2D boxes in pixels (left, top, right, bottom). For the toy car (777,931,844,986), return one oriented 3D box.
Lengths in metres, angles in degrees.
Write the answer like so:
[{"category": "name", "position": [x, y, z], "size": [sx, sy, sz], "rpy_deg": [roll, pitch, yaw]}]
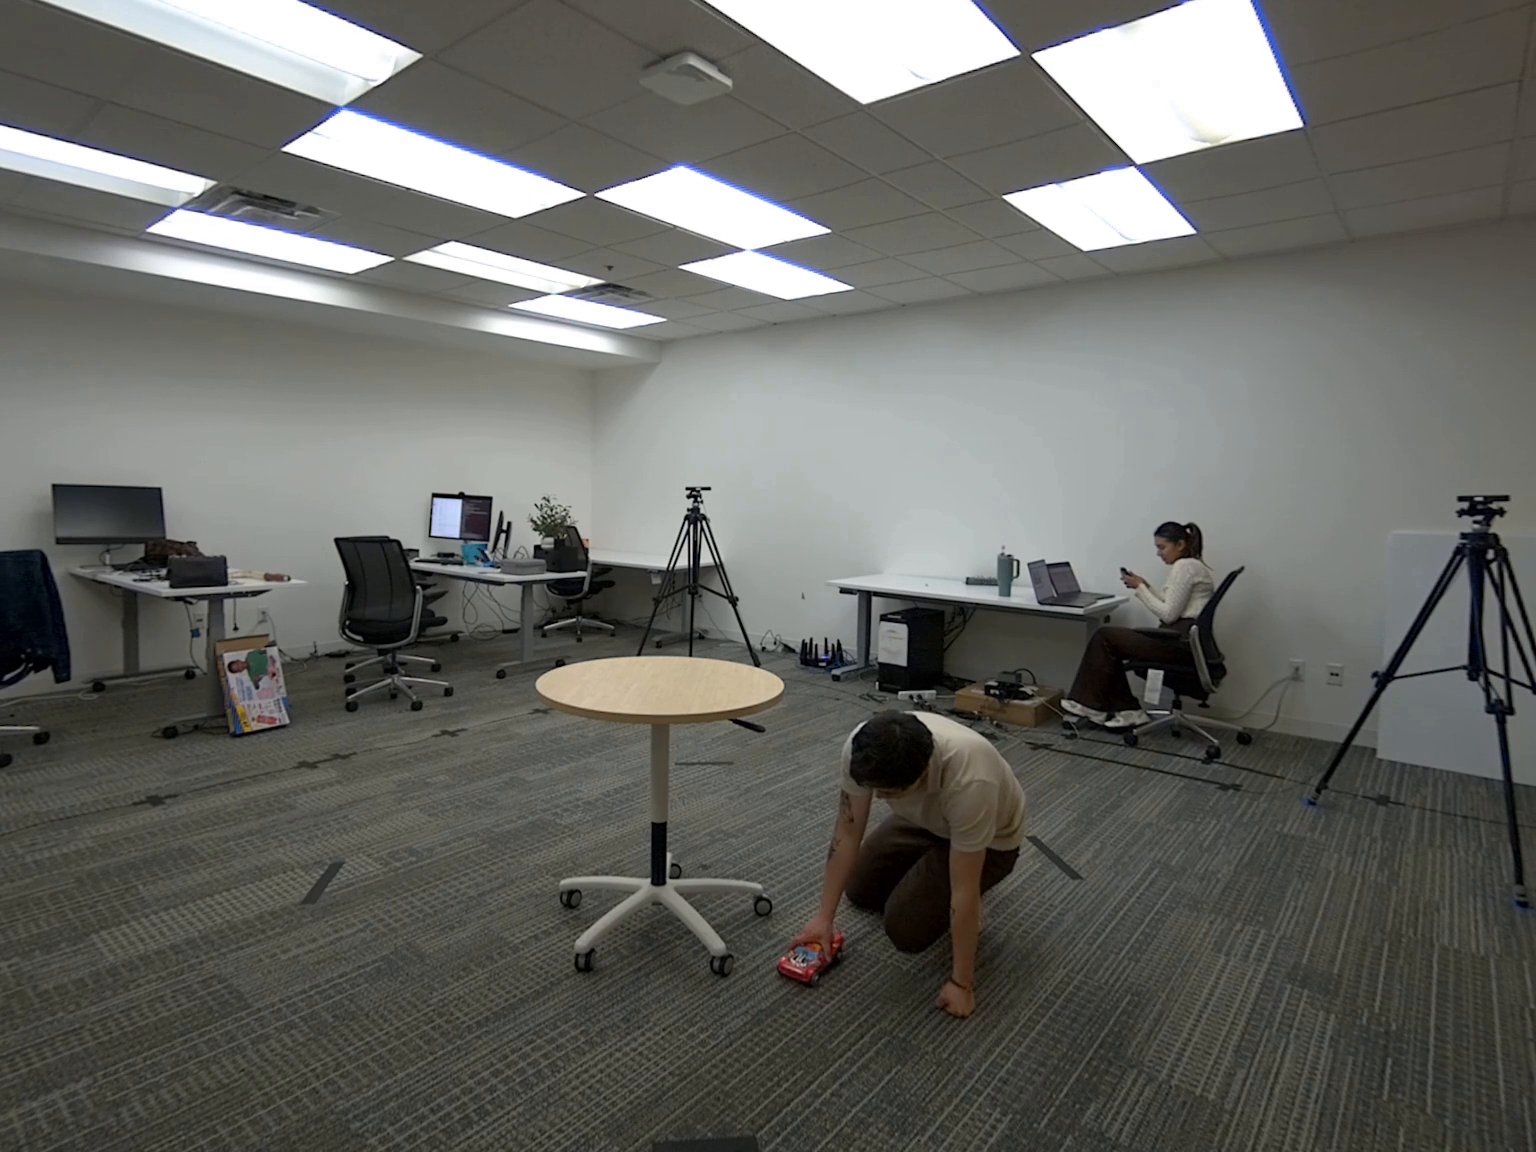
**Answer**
[{"category": "toy car", "position": [0.133, 1.107, 2.490], "size": [0.134, 0.082, 0.250], "rpy_deg": [2, 16, 33]}]
